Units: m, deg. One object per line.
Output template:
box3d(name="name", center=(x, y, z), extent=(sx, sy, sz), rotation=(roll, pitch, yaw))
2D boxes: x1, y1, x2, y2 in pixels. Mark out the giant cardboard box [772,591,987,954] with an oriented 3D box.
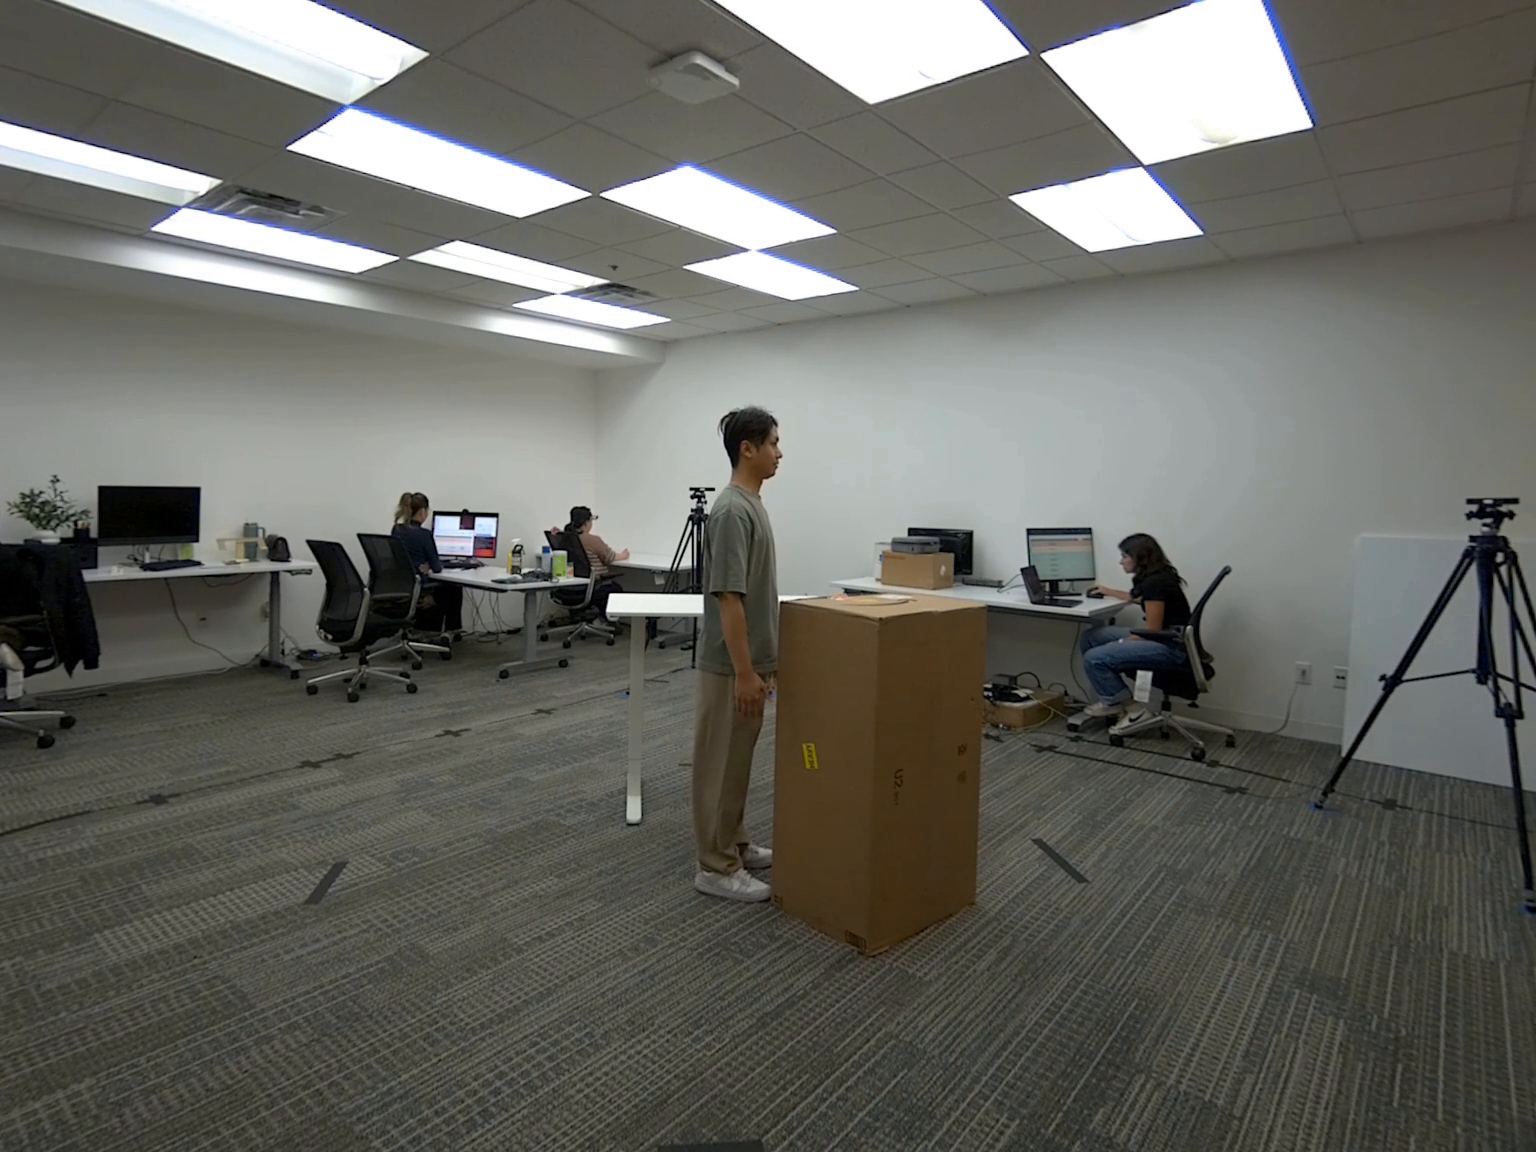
box3d(name="giant cardboard box", center=(0.368, 0.597, 2.852), extent=(0.560, 1.023, 0.441), rotation=(-2, 4, -43))
